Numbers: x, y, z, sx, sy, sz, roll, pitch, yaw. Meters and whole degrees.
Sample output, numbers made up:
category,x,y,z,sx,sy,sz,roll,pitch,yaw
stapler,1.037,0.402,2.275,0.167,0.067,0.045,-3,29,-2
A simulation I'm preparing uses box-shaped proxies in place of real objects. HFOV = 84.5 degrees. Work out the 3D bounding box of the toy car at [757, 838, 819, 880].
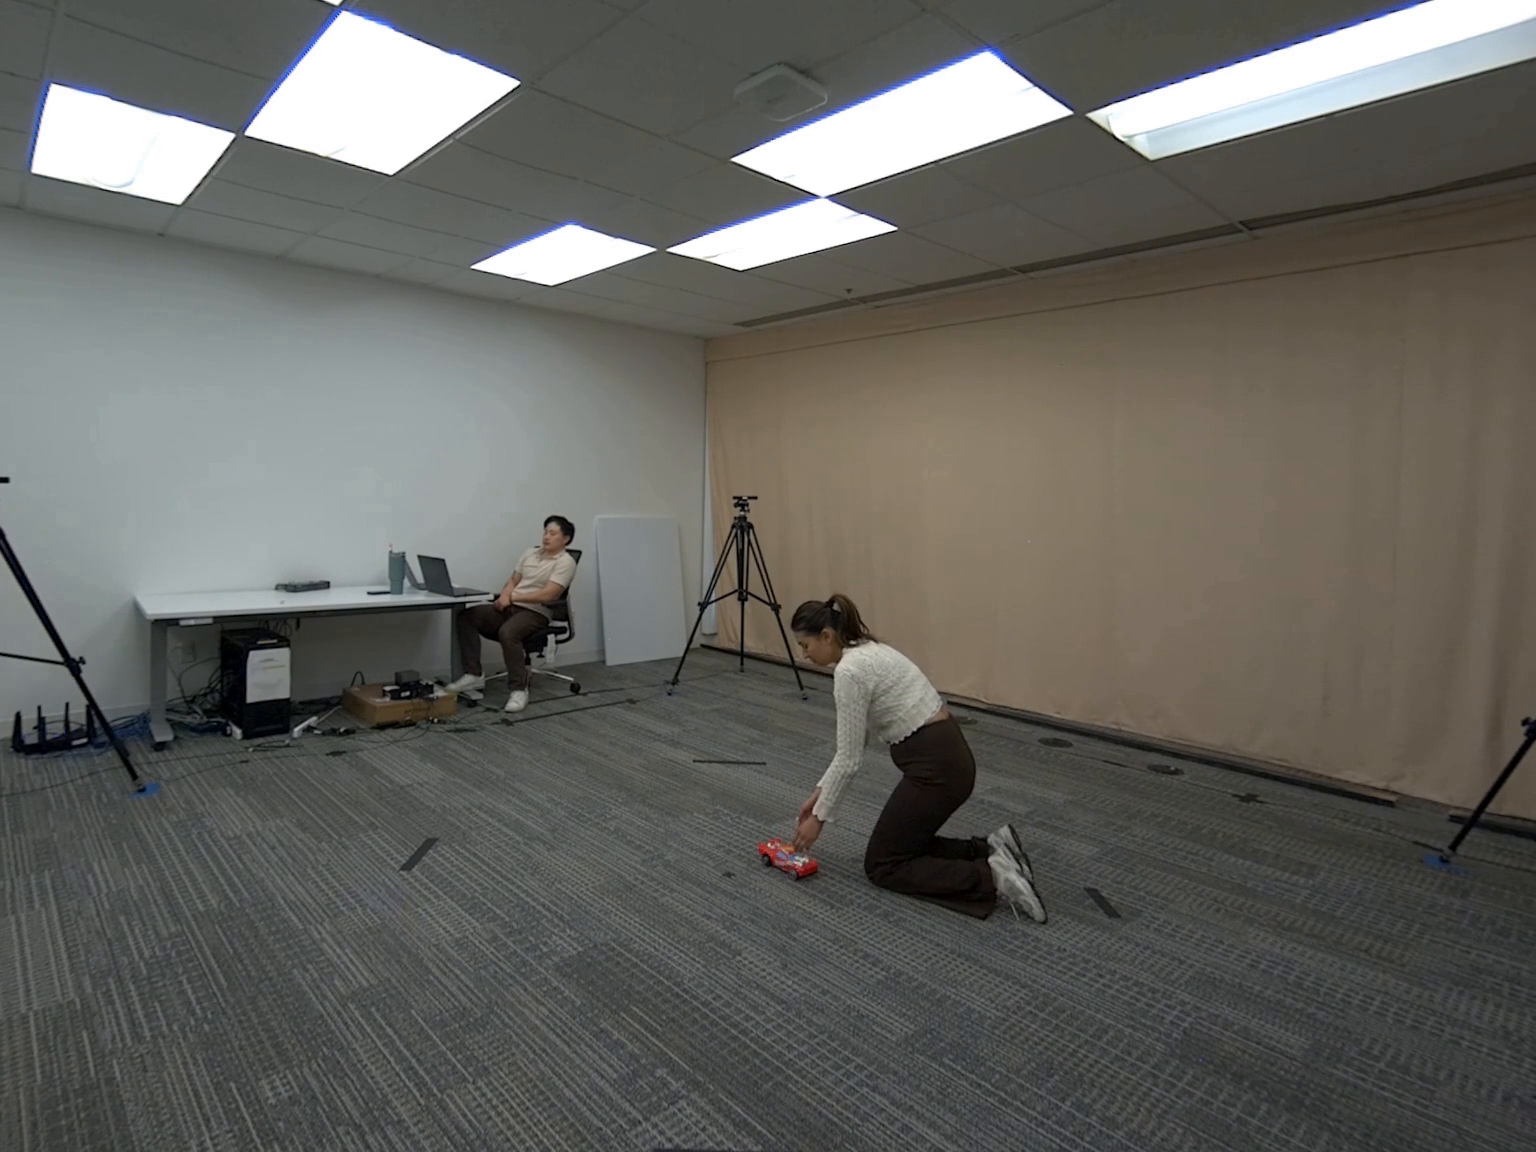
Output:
category,x,y,z,sx,sy,sz,roll,pitch,yaw
toy car,0.067,1.062,3.181,0.127,0.082,0.262,-3,17,-41
